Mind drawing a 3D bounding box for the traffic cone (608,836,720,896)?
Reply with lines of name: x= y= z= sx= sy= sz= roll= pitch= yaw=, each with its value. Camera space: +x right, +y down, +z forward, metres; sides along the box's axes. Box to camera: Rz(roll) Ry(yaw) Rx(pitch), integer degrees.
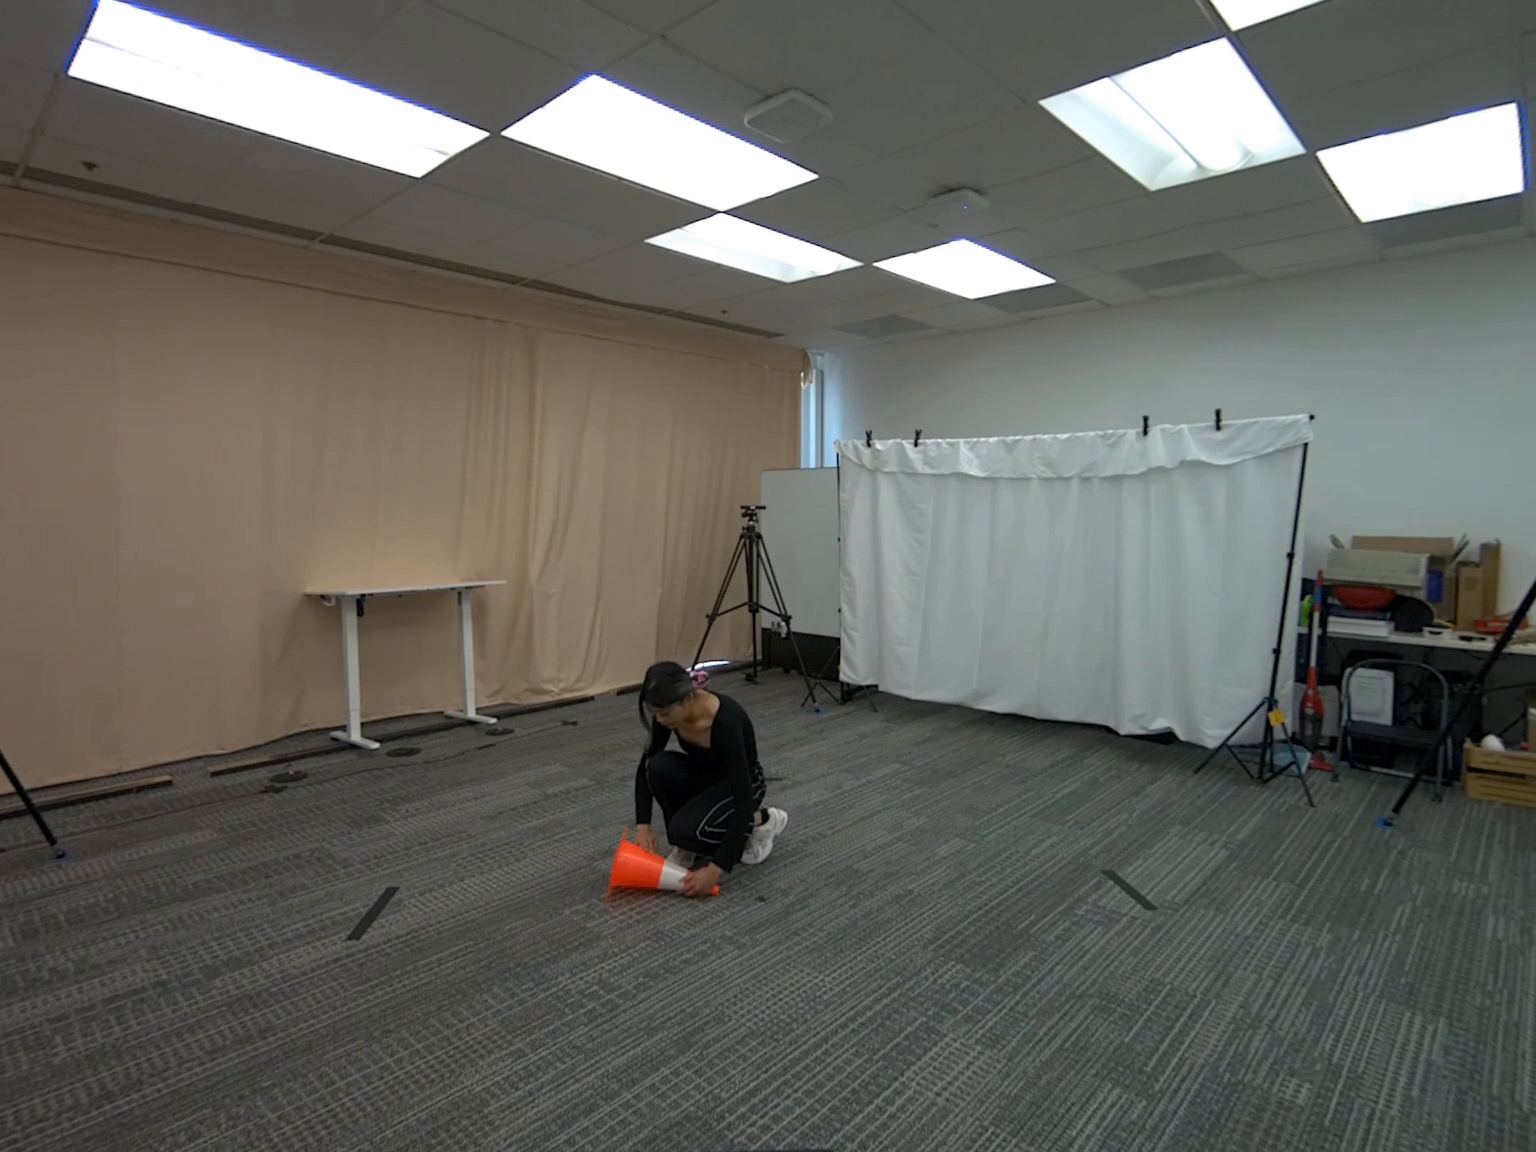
traffic cone: x=-0.361 y=1.073 z=3.021 sx=0.386 sy=0.202 sz=0.205 roll=13 pitch=13 yaw=4
